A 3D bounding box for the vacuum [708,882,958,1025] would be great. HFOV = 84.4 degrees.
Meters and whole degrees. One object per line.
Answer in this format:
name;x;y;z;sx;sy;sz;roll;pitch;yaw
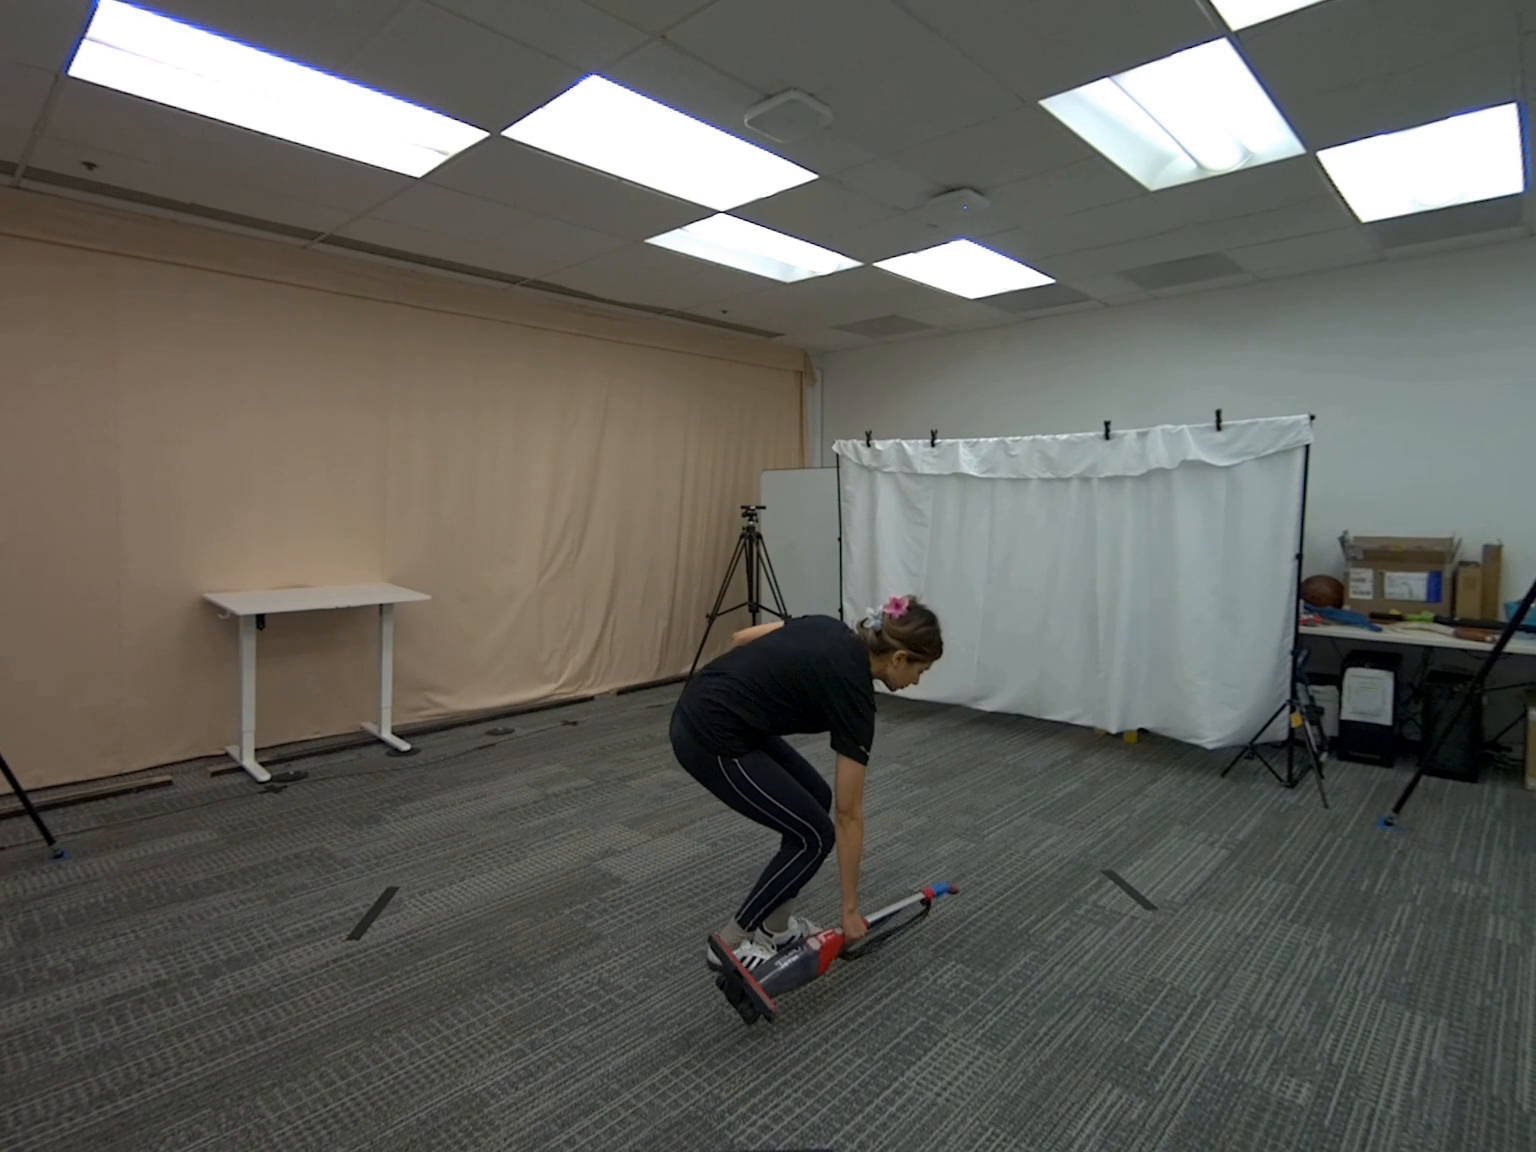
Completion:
vacuum;0.280;1.051;2.470;1.015;0.143;0.262;3;25;-45
